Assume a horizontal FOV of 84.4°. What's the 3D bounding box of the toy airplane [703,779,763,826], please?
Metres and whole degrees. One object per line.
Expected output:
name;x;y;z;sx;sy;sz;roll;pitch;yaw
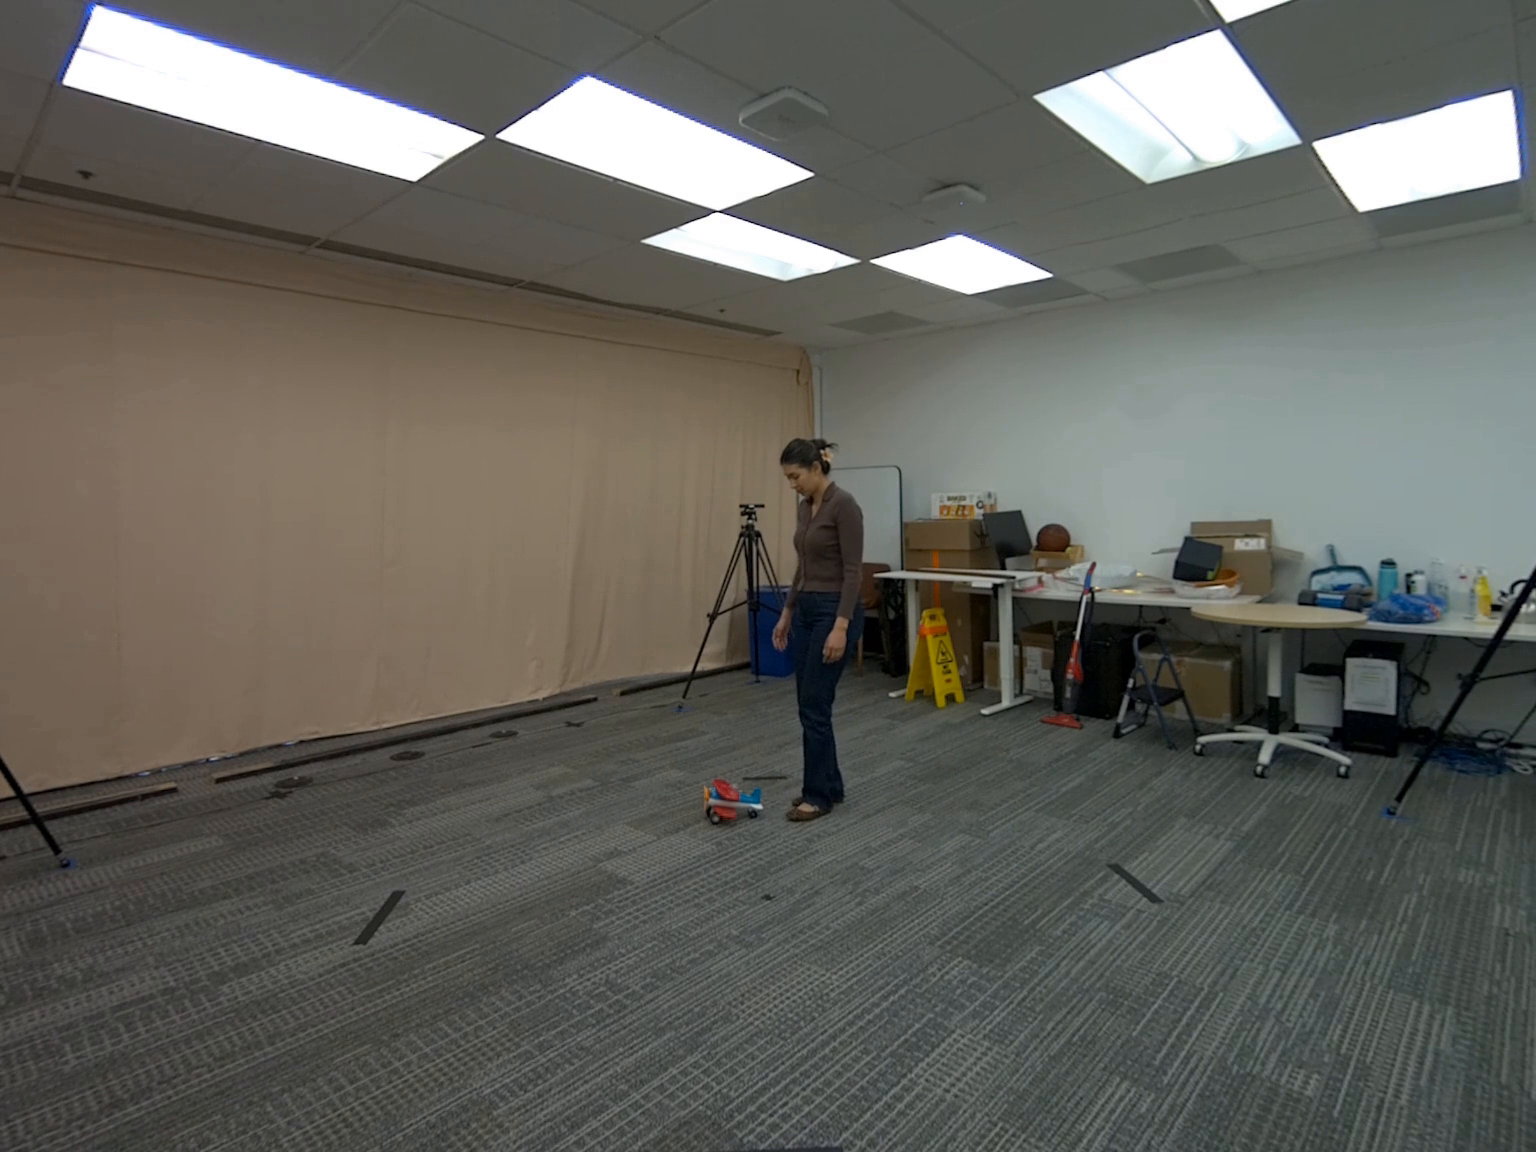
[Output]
toy airplane;-0.161;1.002;3.756;0.251;0.156;0.259;-6;6;-42
